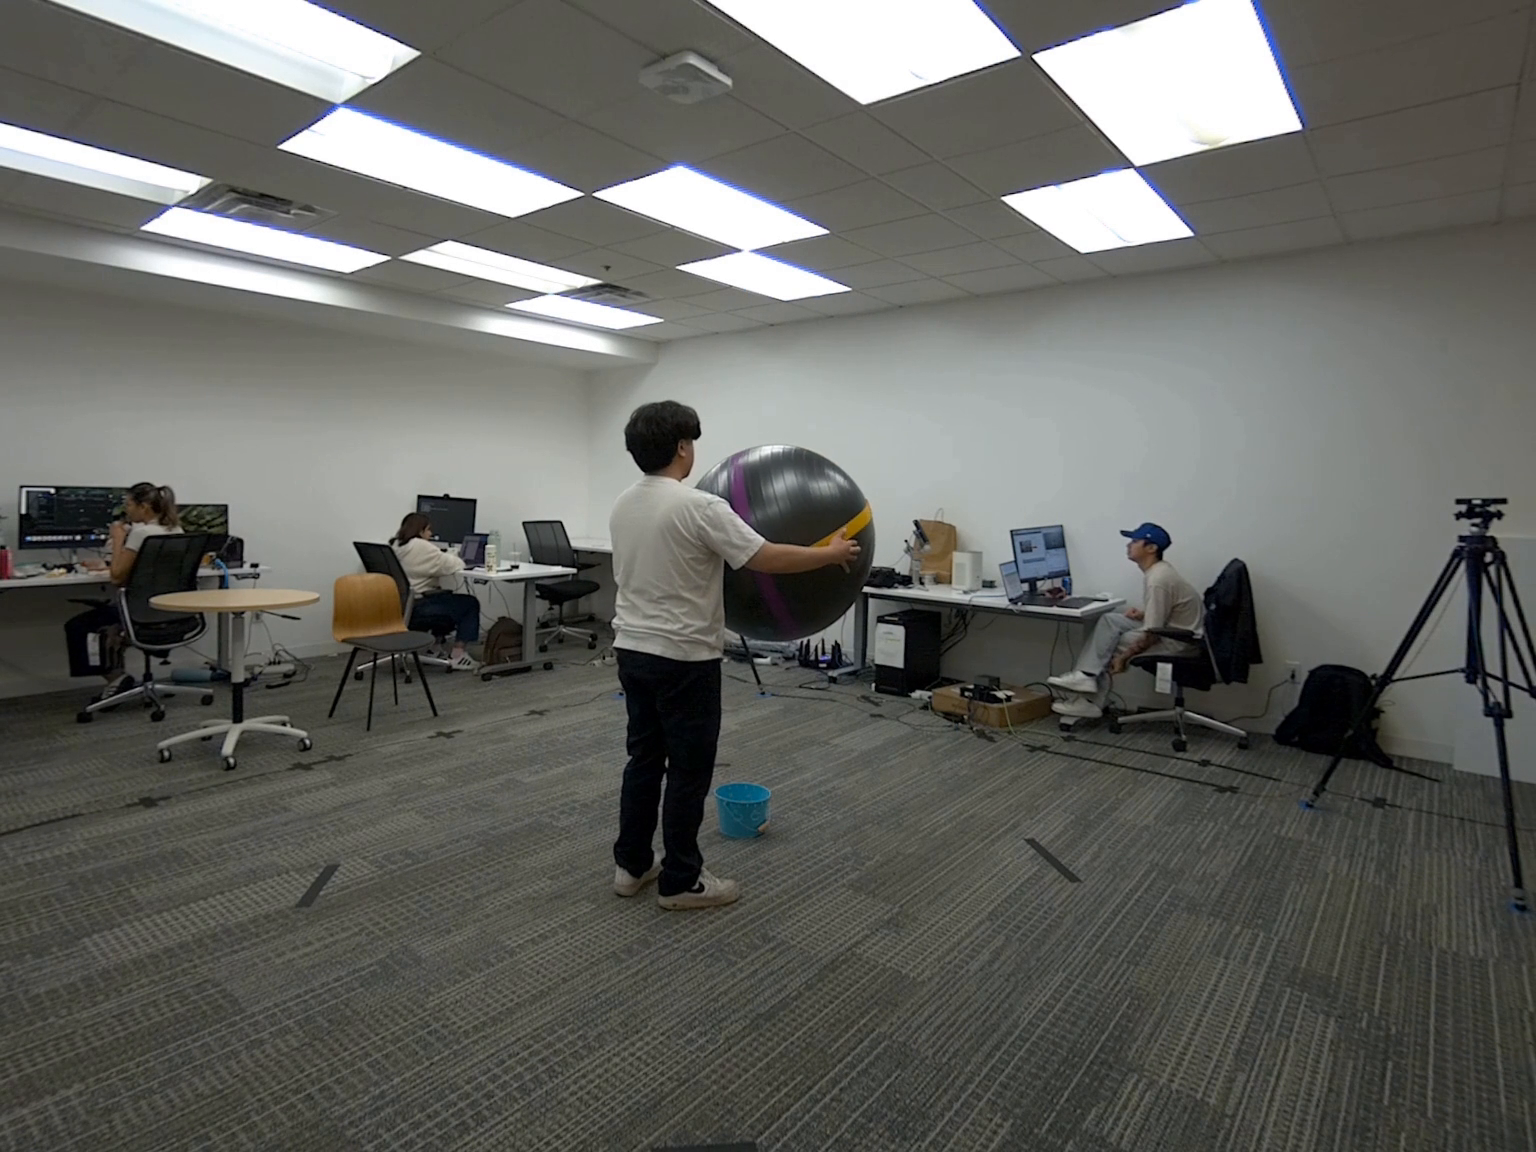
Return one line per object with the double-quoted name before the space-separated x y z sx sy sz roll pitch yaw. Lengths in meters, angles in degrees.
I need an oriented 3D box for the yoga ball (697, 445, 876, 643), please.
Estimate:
"yoga ball" 0.029 -0.125 3.286 0.757 0.755 0.762 1 4 -2
